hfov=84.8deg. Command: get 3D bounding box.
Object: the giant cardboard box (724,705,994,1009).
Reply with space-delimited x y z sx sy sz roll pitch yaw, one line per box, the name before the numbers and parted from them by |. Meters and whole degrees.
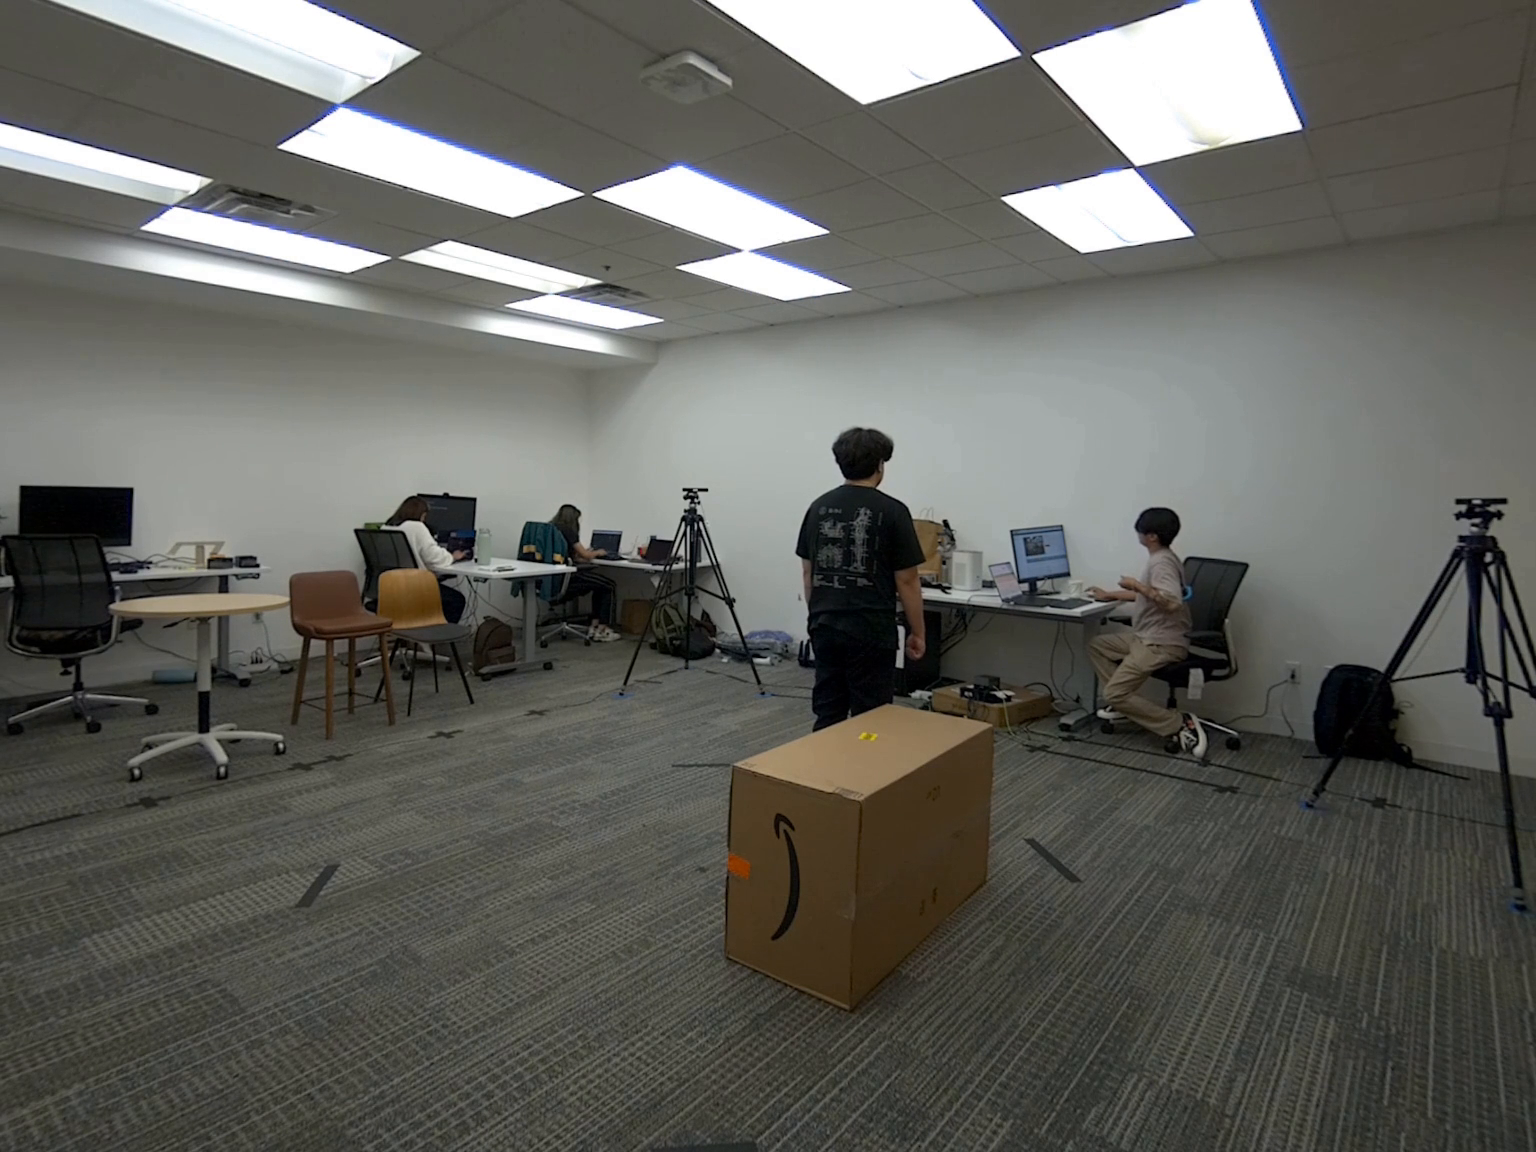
giant cardboard box | 0.333 0.826 2.783 0.461 0.582 0.998 3 5 35
